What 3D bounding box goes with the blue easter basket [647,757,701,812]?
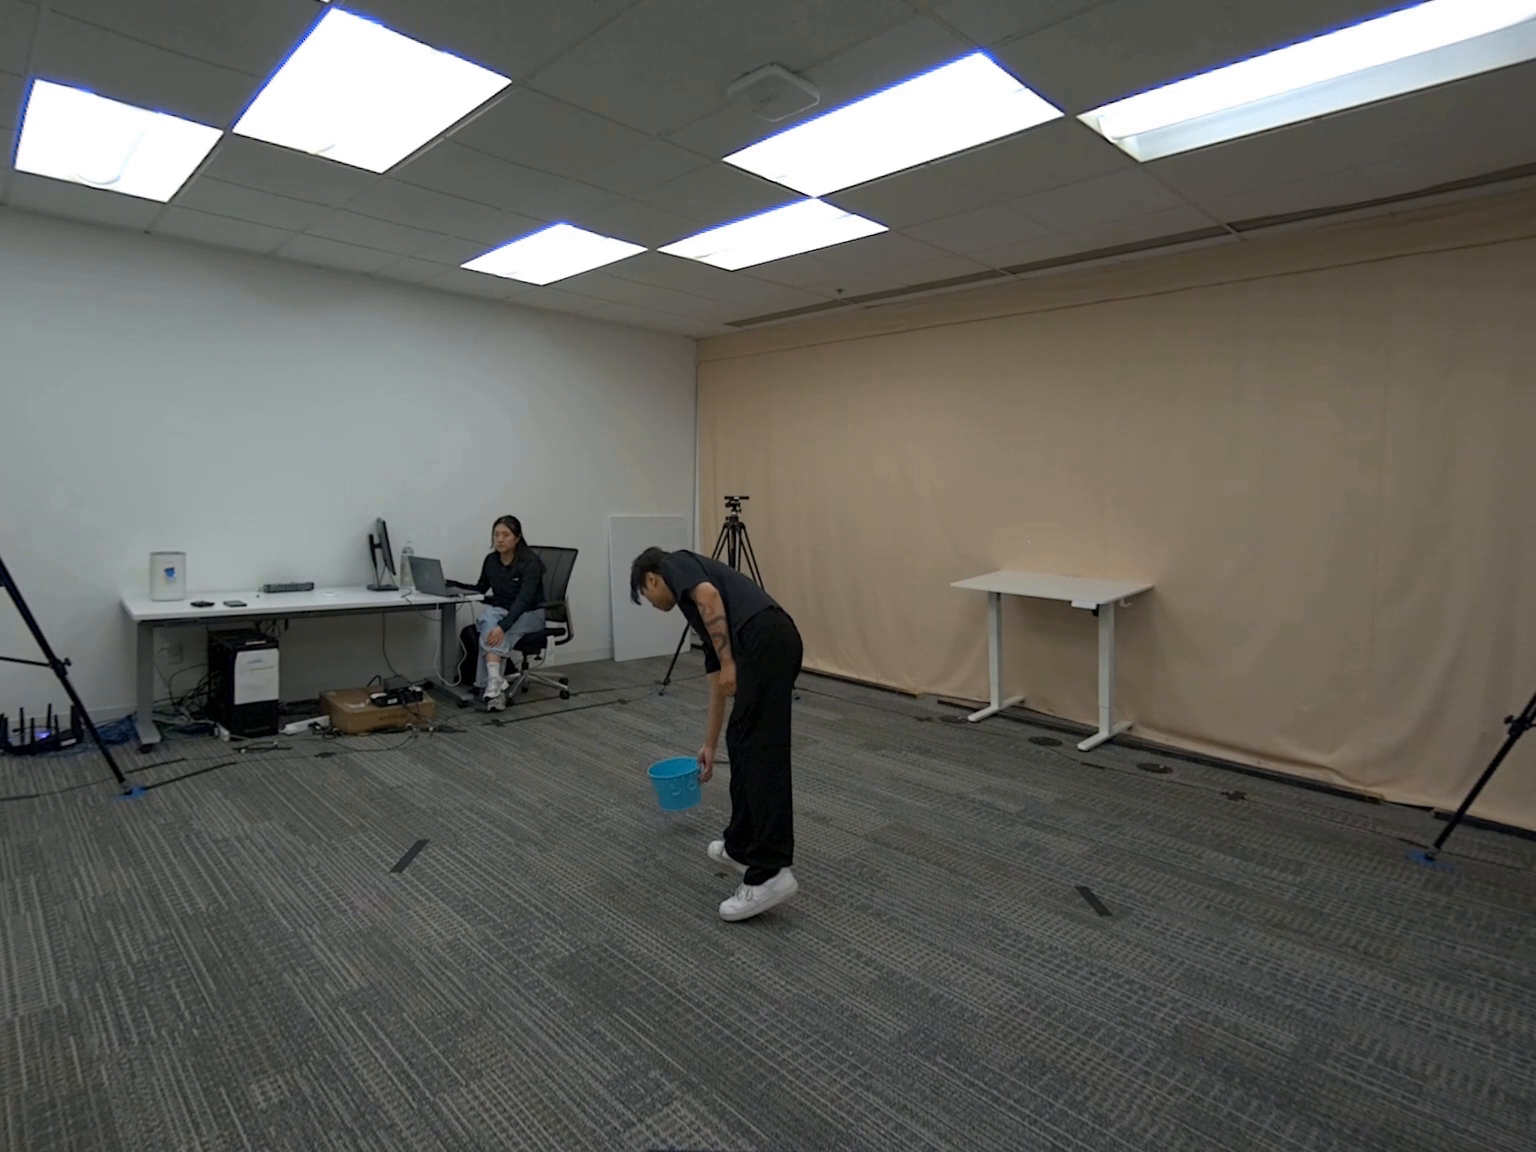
[{"bbox_3d":[-0.384,0.861,3.507,0.243,0.155,0.245,-6,7,-1],"label":"blue easter basket"}]
